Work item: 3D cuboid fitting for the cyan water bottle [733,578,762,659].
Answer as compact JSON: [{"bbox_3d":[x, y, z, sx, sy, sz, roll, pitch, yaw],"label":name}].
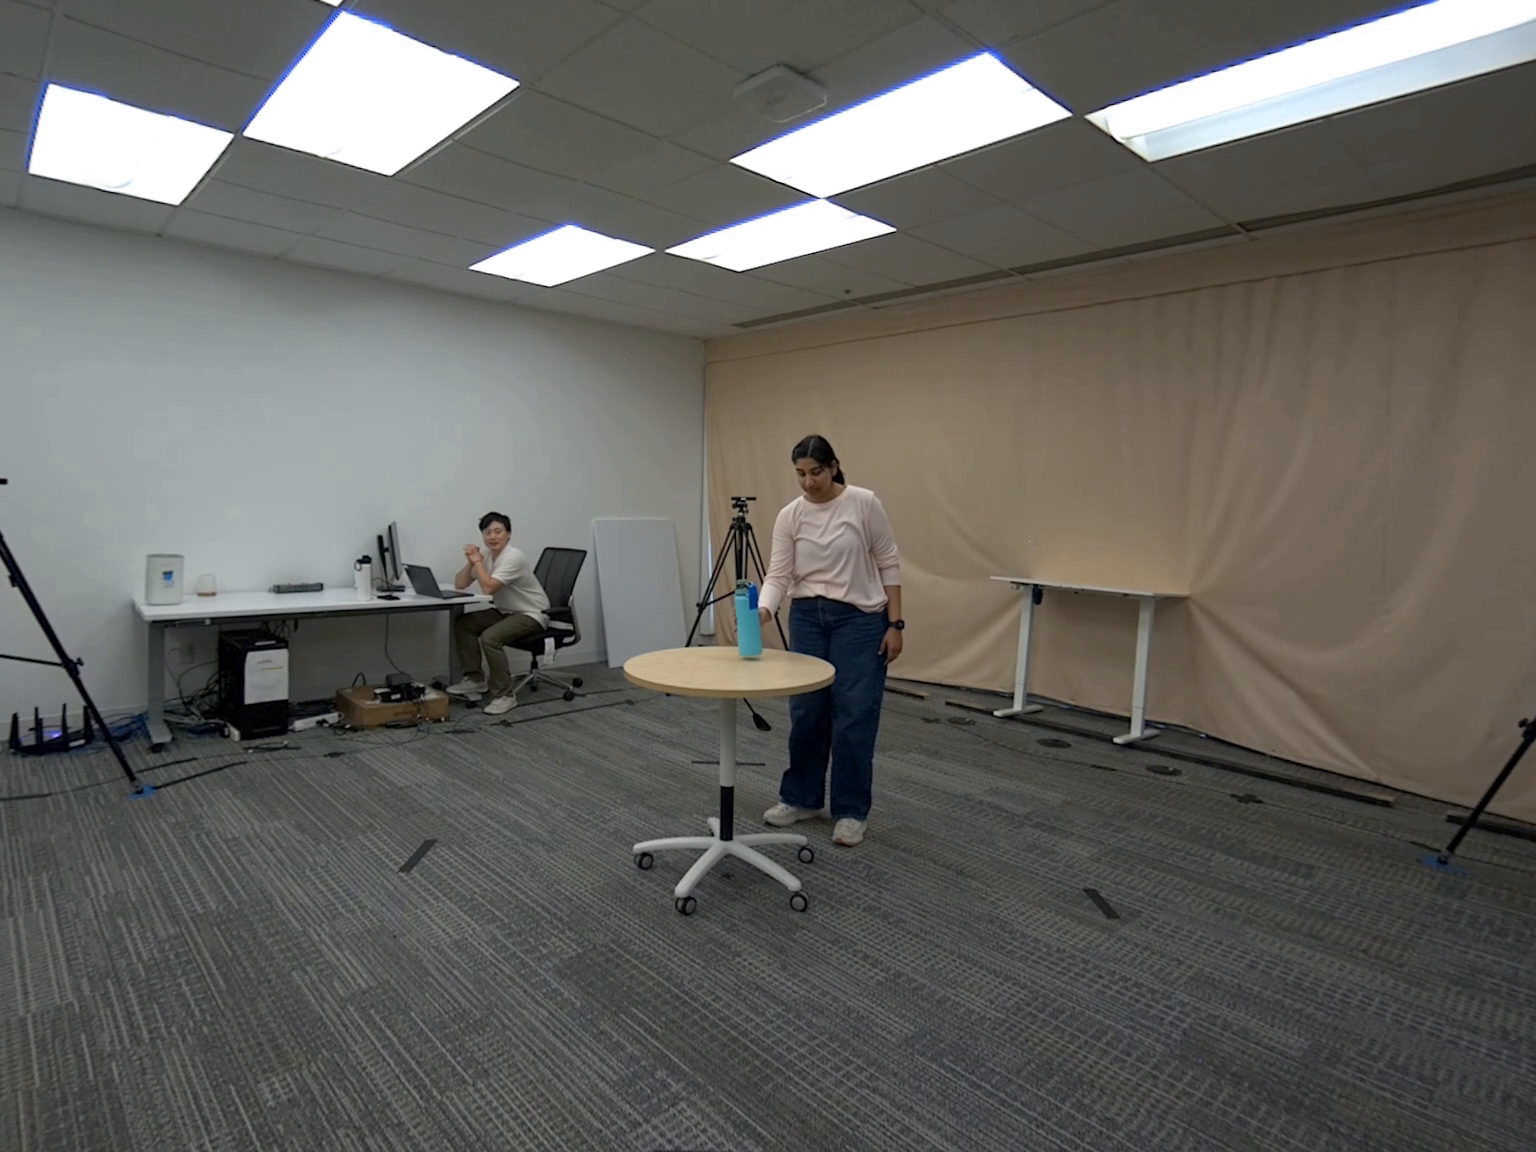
[{"bbox_3d":[-0.083,0.158,3.171,0.092,0.282,0.093,-4,6,-1],"label":"cyan water bottle"}]
